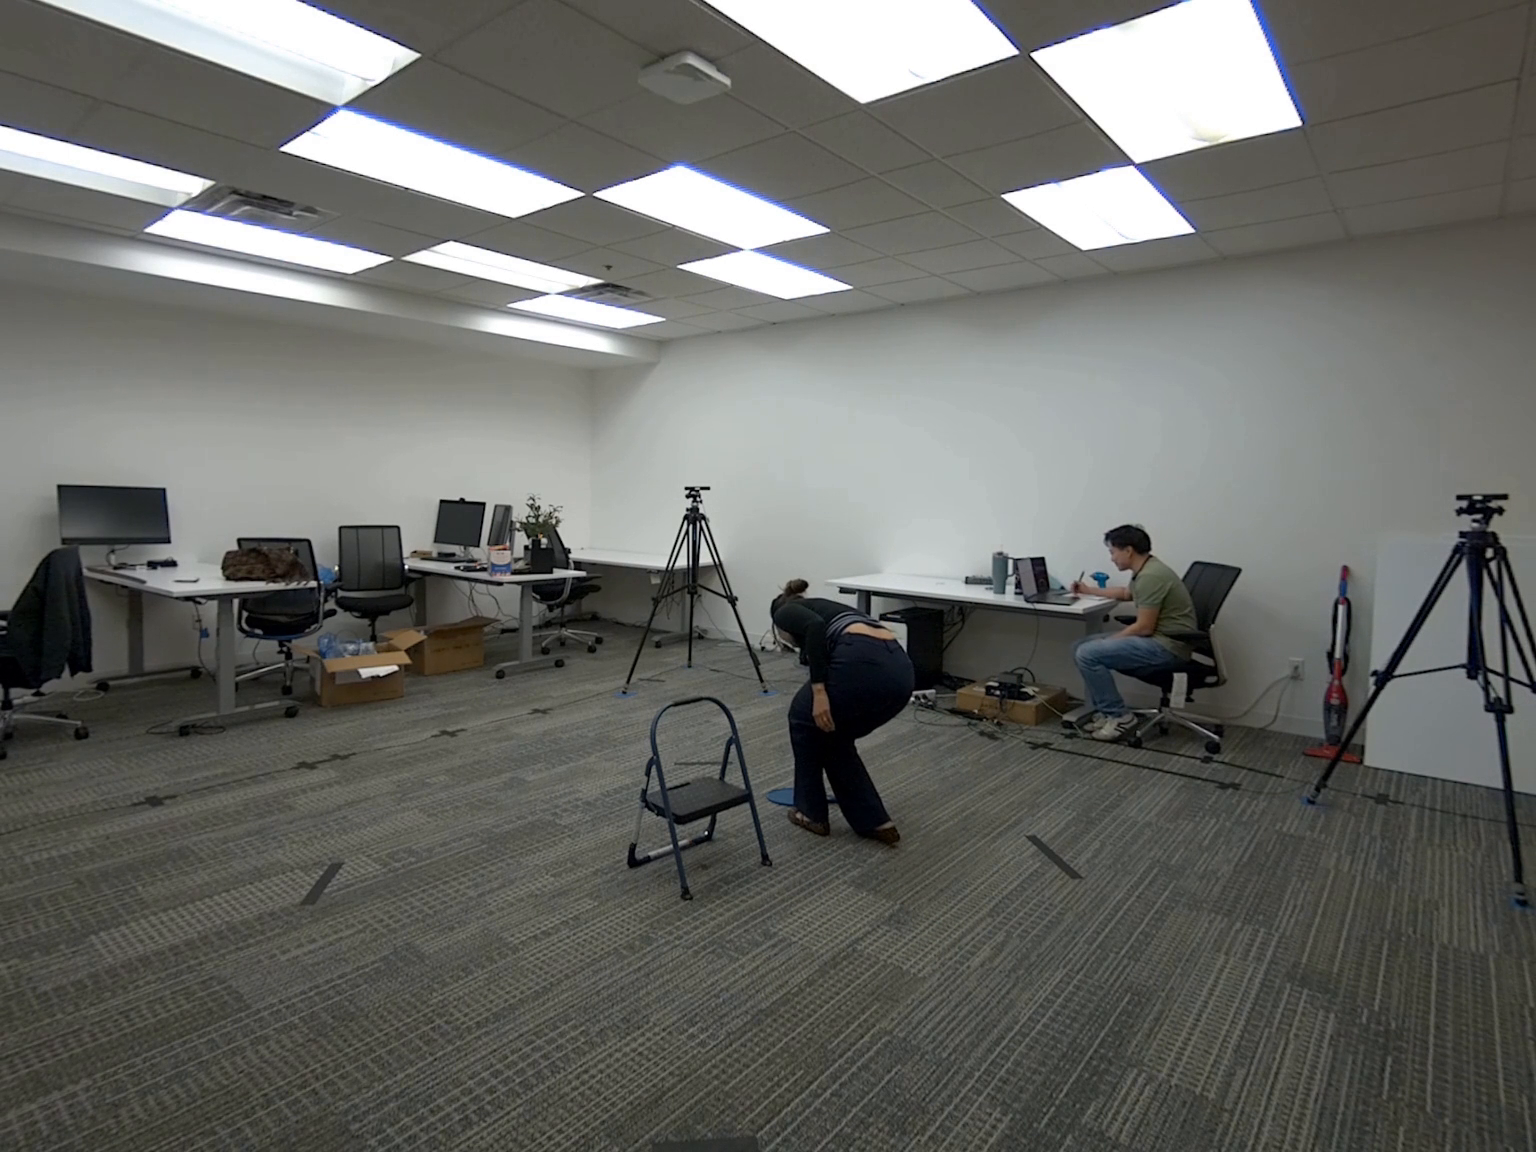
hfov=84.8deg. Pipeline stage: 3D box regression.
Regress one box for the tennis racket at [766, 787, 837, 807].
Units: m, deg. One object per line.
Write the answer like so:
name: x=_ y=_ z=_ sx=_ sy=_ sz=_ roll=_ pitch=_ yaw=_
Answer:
tennis racket: x=0.197 y=0.982 z=3.805 sx=0.438 sy=0.031 sz=0.212 roll=0 pitch=4 yaw=10
